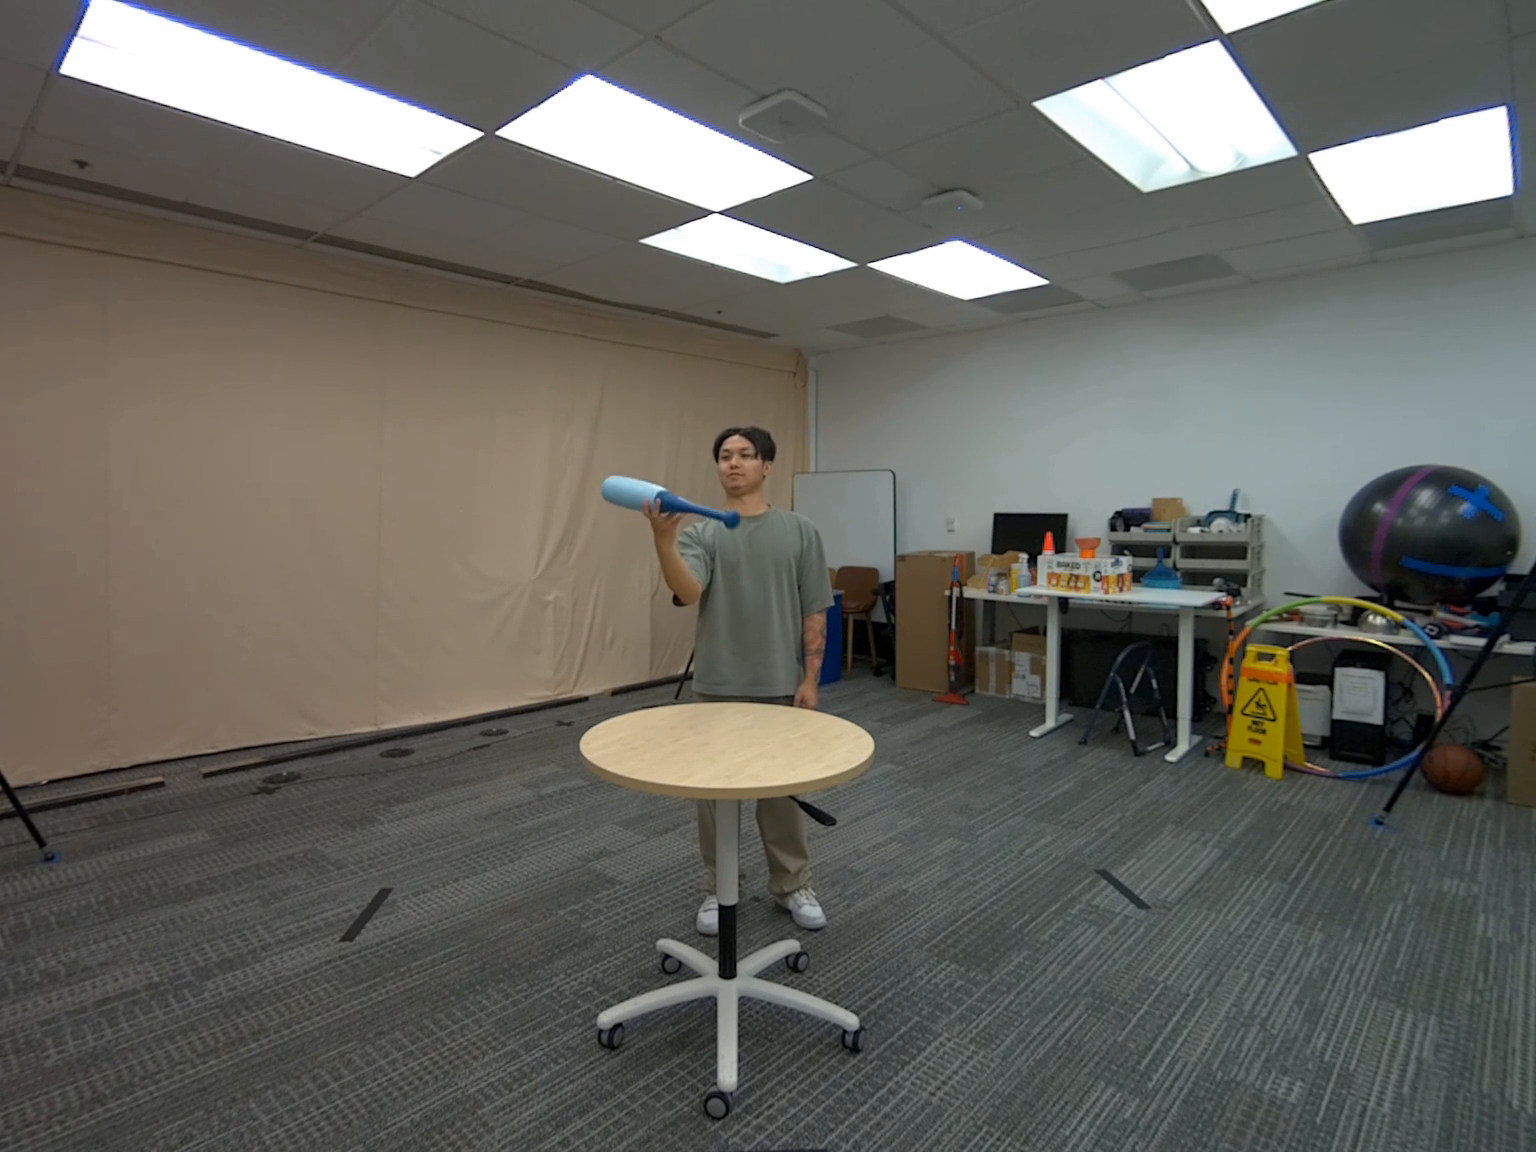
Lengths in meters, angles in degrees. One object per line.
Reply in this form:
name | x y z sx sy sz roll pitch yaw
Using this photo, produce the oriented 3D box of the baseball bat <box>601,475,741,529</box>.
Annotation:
baseball bat | -0.274 -0.205 2.352 0.563 0.088 0.086 17 14 41
